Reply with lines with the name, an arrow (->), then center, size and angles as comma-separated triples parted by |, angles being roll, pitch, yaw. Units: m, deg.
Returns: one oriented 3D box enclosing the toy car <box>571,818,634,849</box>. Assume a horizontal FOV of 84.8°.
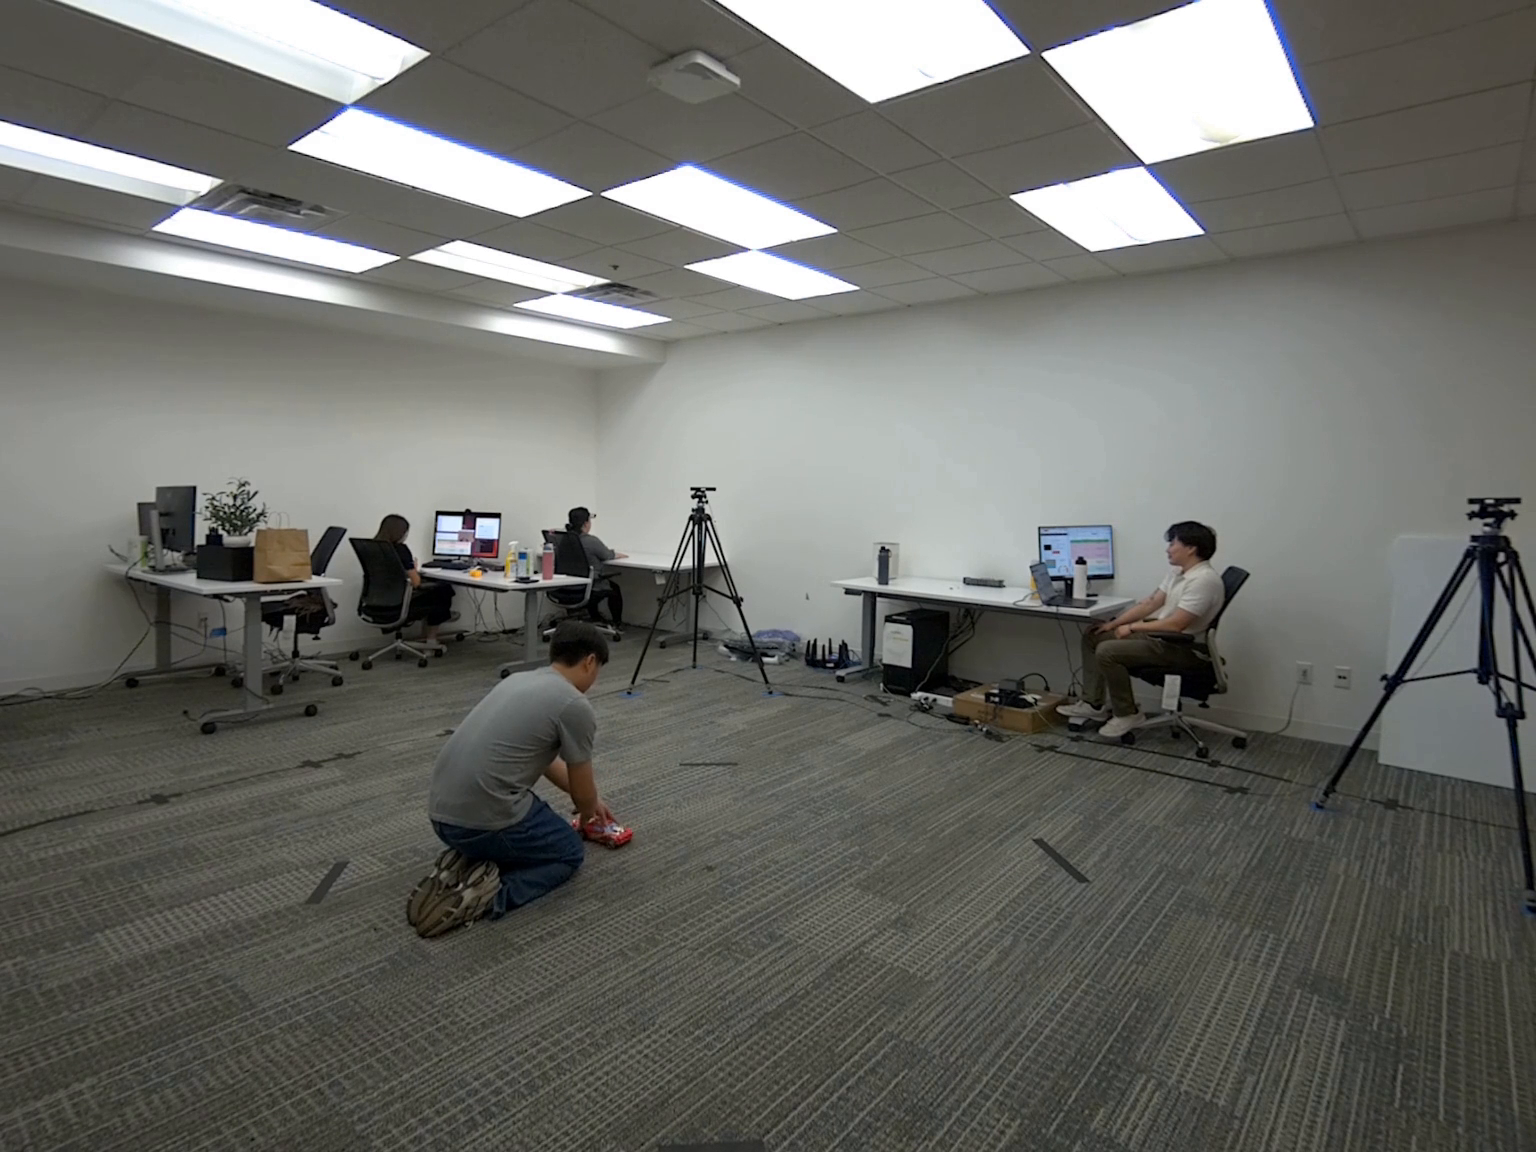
toy car -> -0.672, 1.005, 3.350 | 0.263, 0.082, 0.127 | 13, 11, 29
